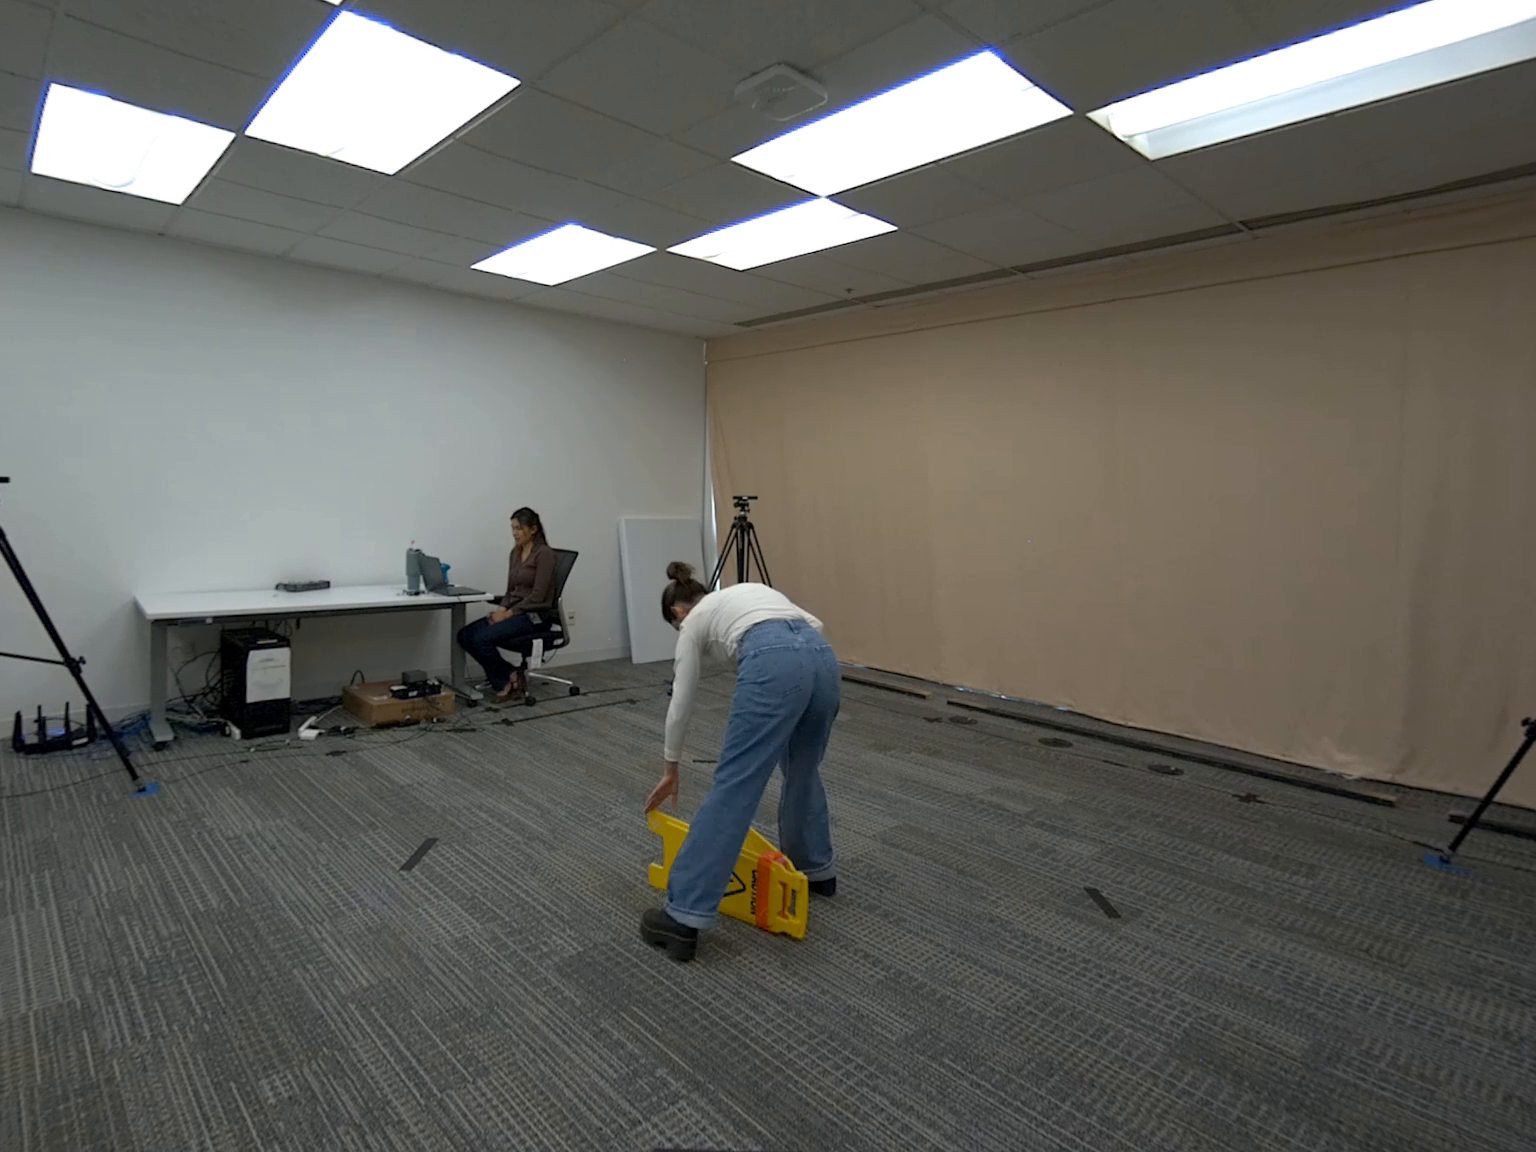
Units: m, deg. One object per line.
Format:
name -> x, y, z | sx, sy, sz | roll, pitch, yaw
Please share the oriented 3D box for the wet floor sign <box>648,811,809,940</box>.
wet floor sign -> -0.110, 0.996, 2.854 | 0.283, 0.281, 0.663 | -4, 9, -42
